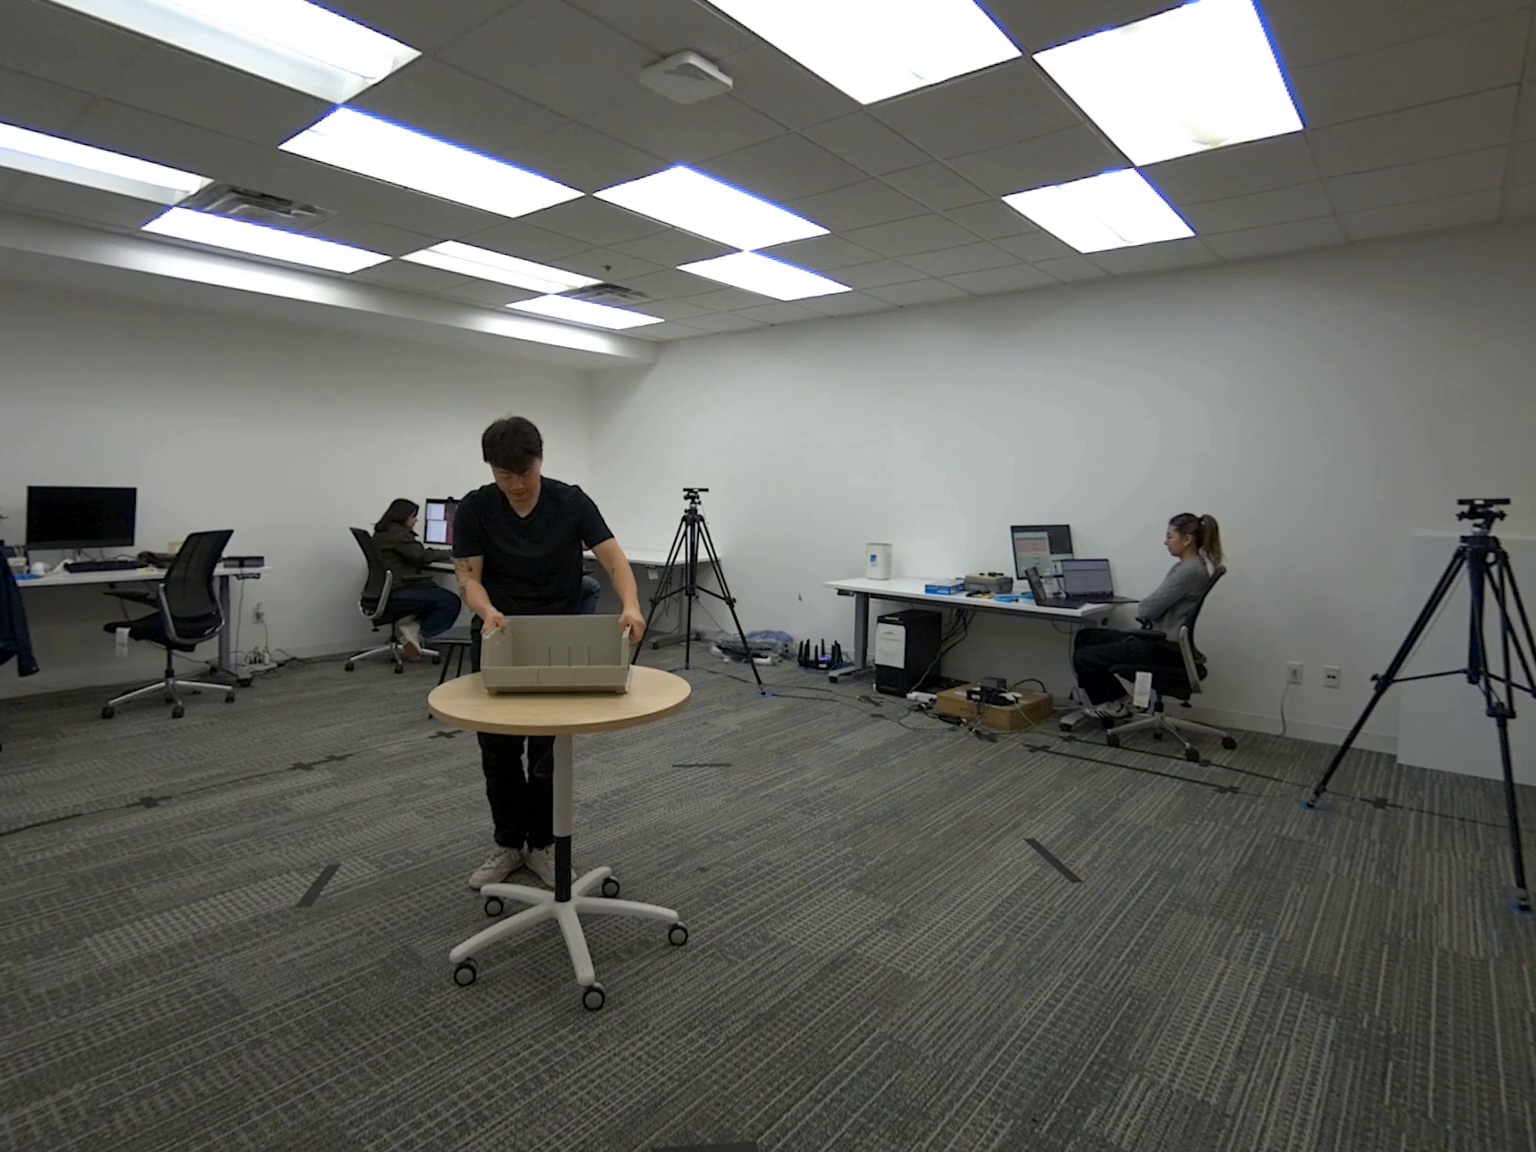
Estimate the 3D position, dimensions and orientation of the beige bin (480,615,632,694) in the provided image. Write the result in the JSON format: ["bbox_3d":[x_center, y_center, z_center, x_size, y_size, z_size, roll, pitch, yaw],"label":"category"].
[{"bbox_3d":[-0.641,0.239,2.602,0.421,0.188,0.380,-1,6,-4],"label":"beige bin"}]
